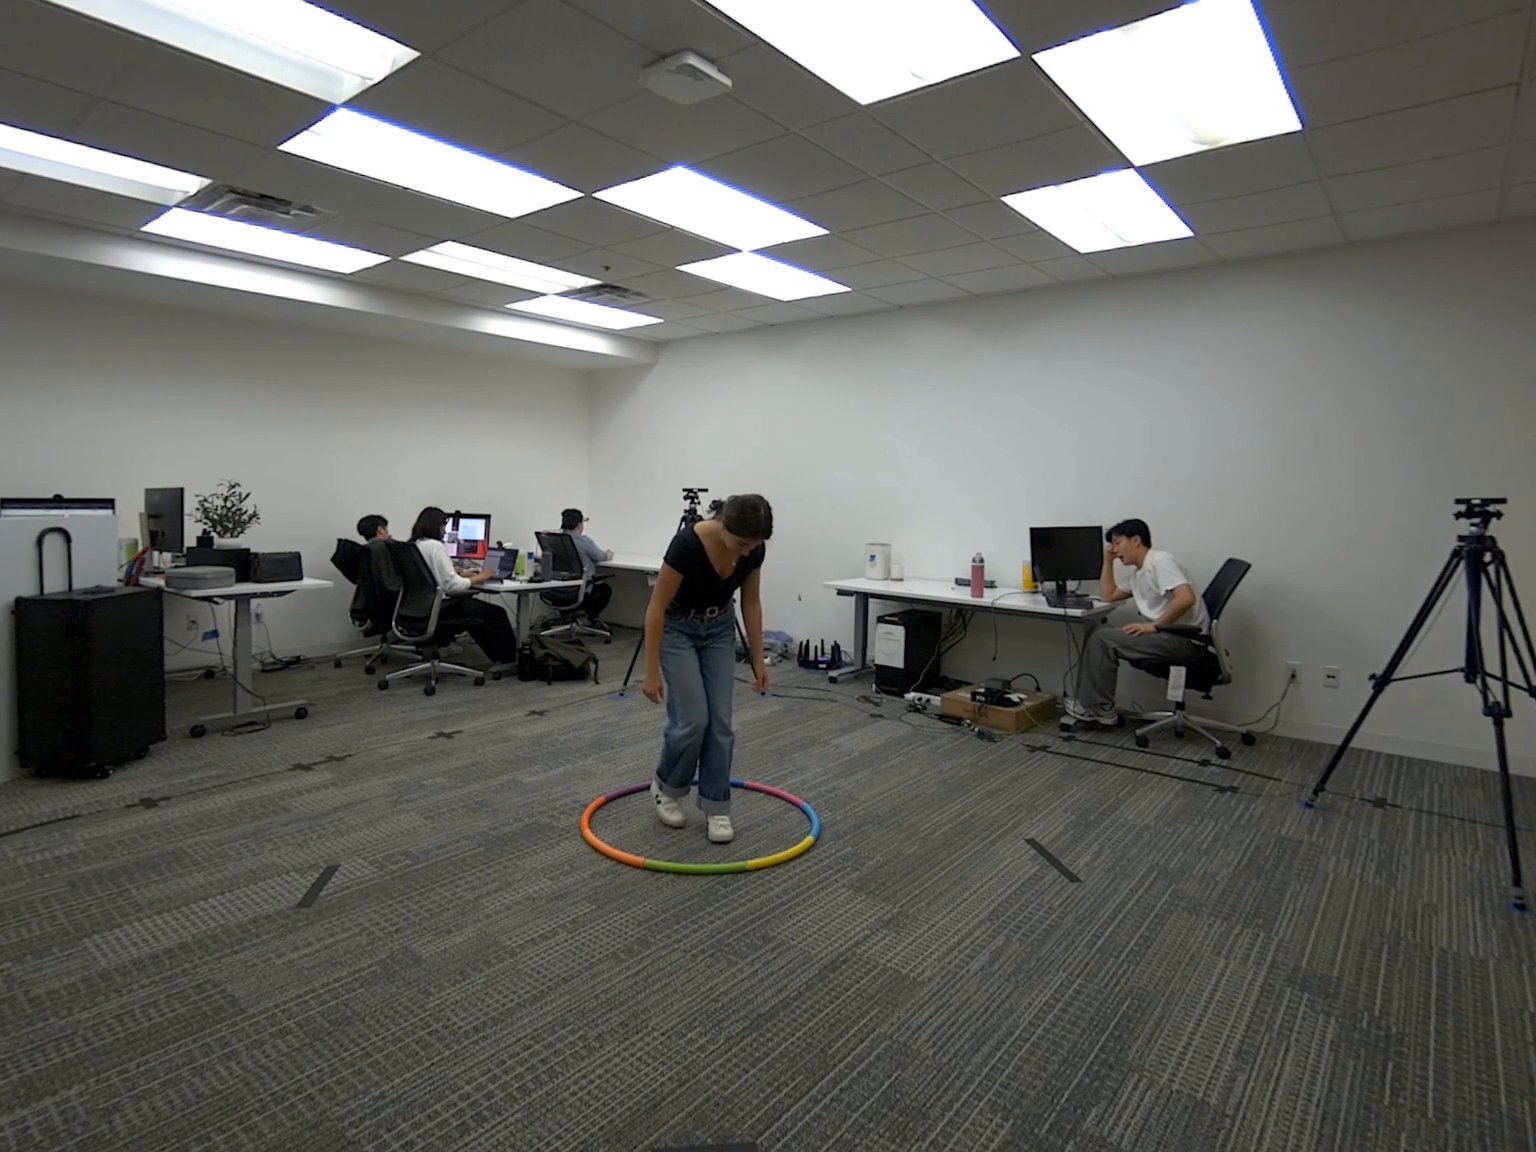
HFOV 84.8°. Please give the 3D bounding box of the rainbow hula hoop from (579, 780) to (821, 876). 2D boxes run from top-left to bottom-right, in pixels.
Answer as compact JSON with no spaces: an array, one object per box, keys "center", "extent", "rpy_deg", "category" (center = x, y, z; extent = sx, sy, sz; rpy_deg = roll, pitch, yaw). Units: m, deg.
[{"center":[-0.279,0.991,3.538],"extent":[0.978,0.035,0.984],"rpy_deg":[1,6,-2],"category":"rainbow hula hoop"}]
